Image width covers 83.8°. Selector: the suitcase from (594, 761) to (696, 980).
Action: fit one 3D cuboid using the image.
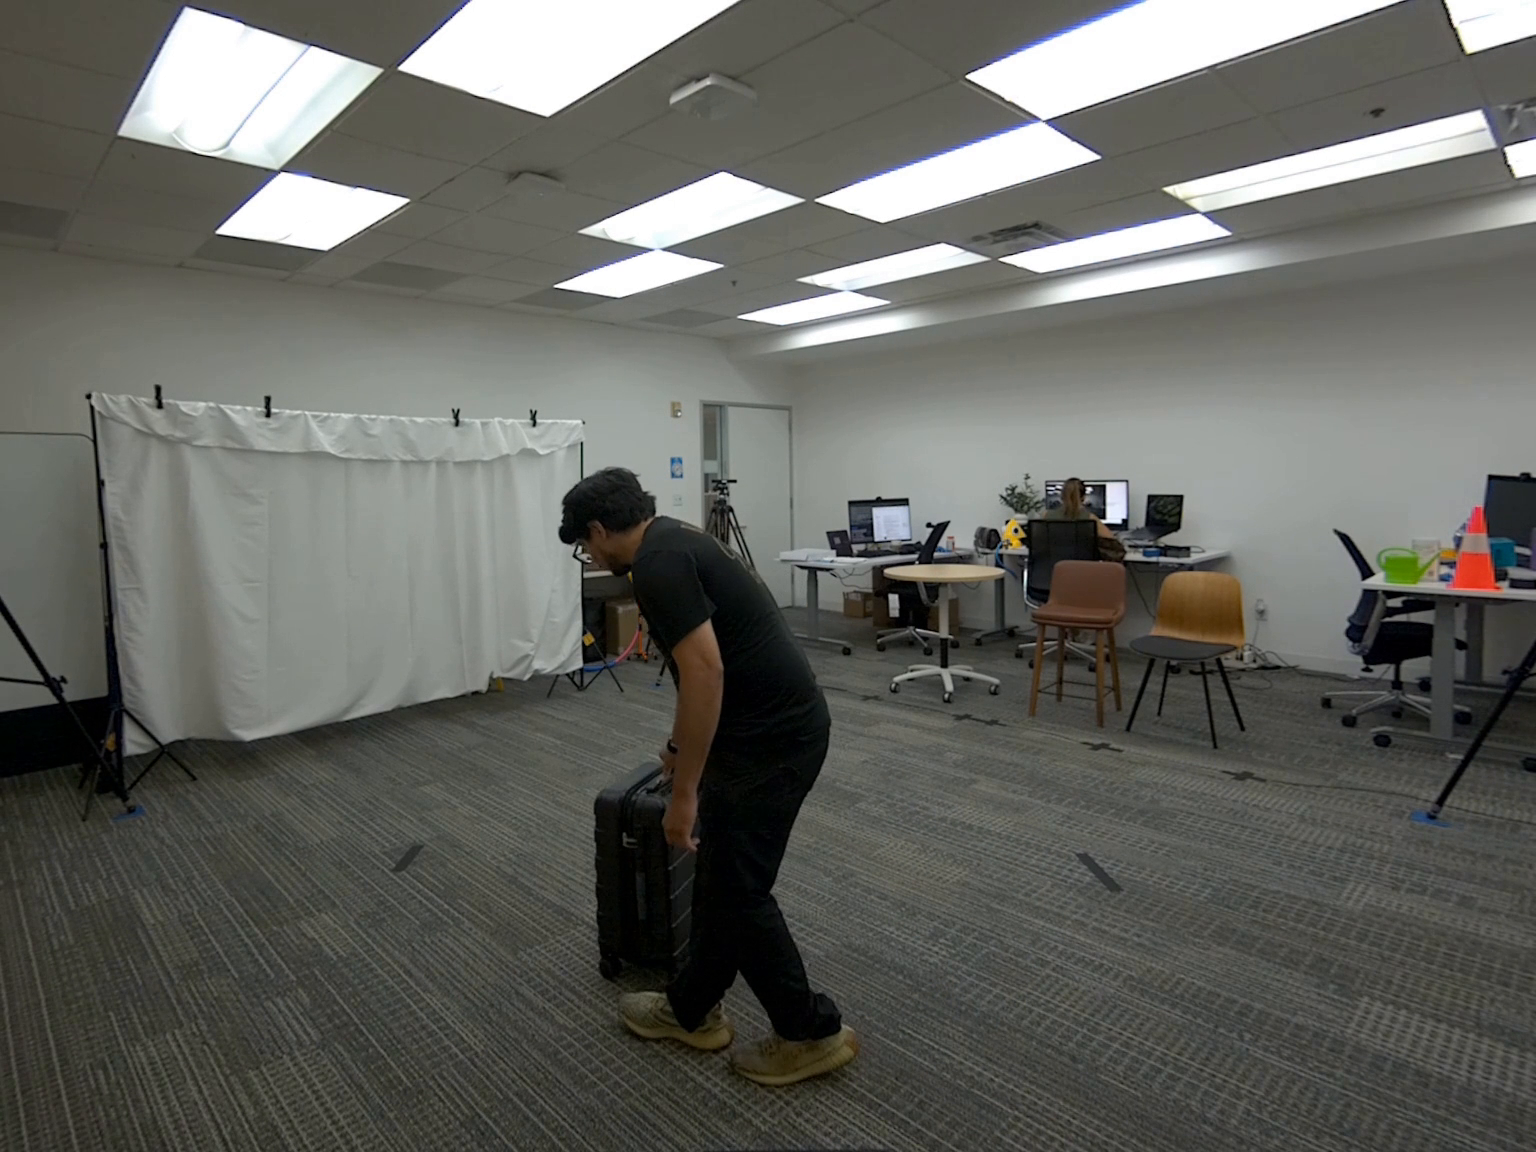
[{"bbox_3d":[-0.321,0.843,2.513,0.253,0.547,0.369,-1,5,22],"label":"suitcase"}]
